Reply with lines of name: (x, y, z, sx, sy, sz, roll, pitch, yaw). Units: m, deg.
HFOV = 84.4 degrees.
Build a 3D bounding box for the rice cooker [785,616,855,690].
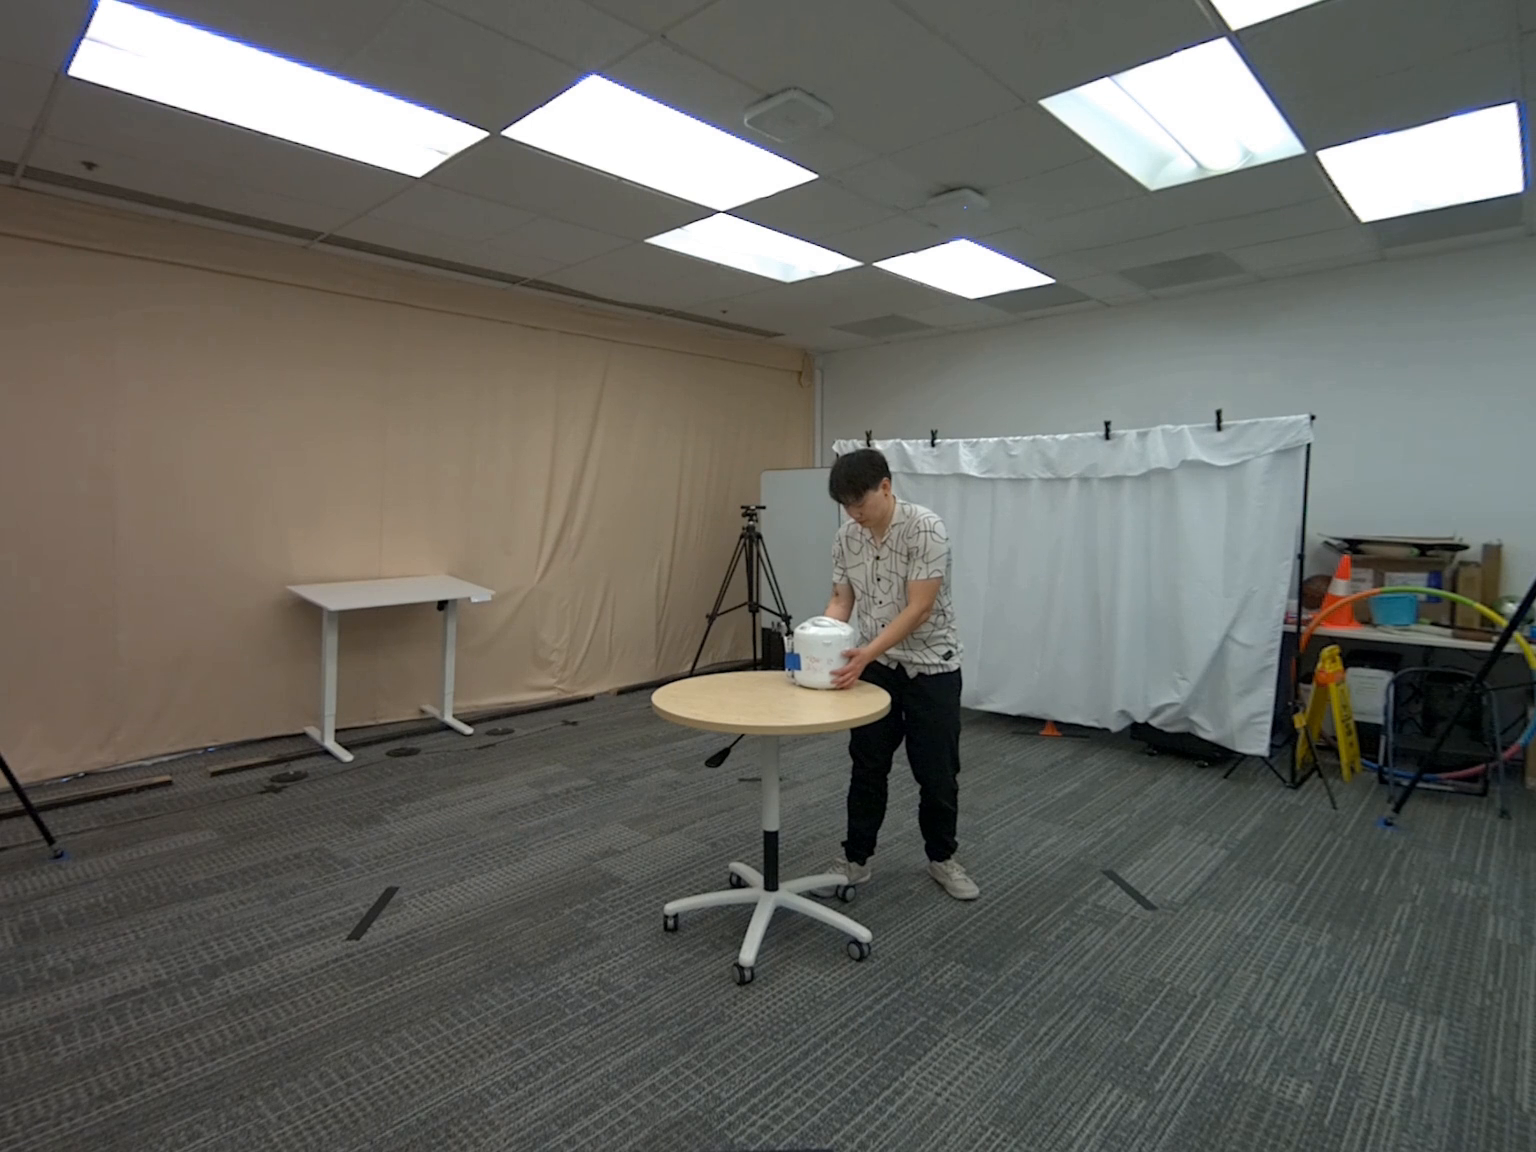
rice cooker: (0.185, 0.258, 2.853, 0.211, 0.232, 0.228, -5, 6, -40)
